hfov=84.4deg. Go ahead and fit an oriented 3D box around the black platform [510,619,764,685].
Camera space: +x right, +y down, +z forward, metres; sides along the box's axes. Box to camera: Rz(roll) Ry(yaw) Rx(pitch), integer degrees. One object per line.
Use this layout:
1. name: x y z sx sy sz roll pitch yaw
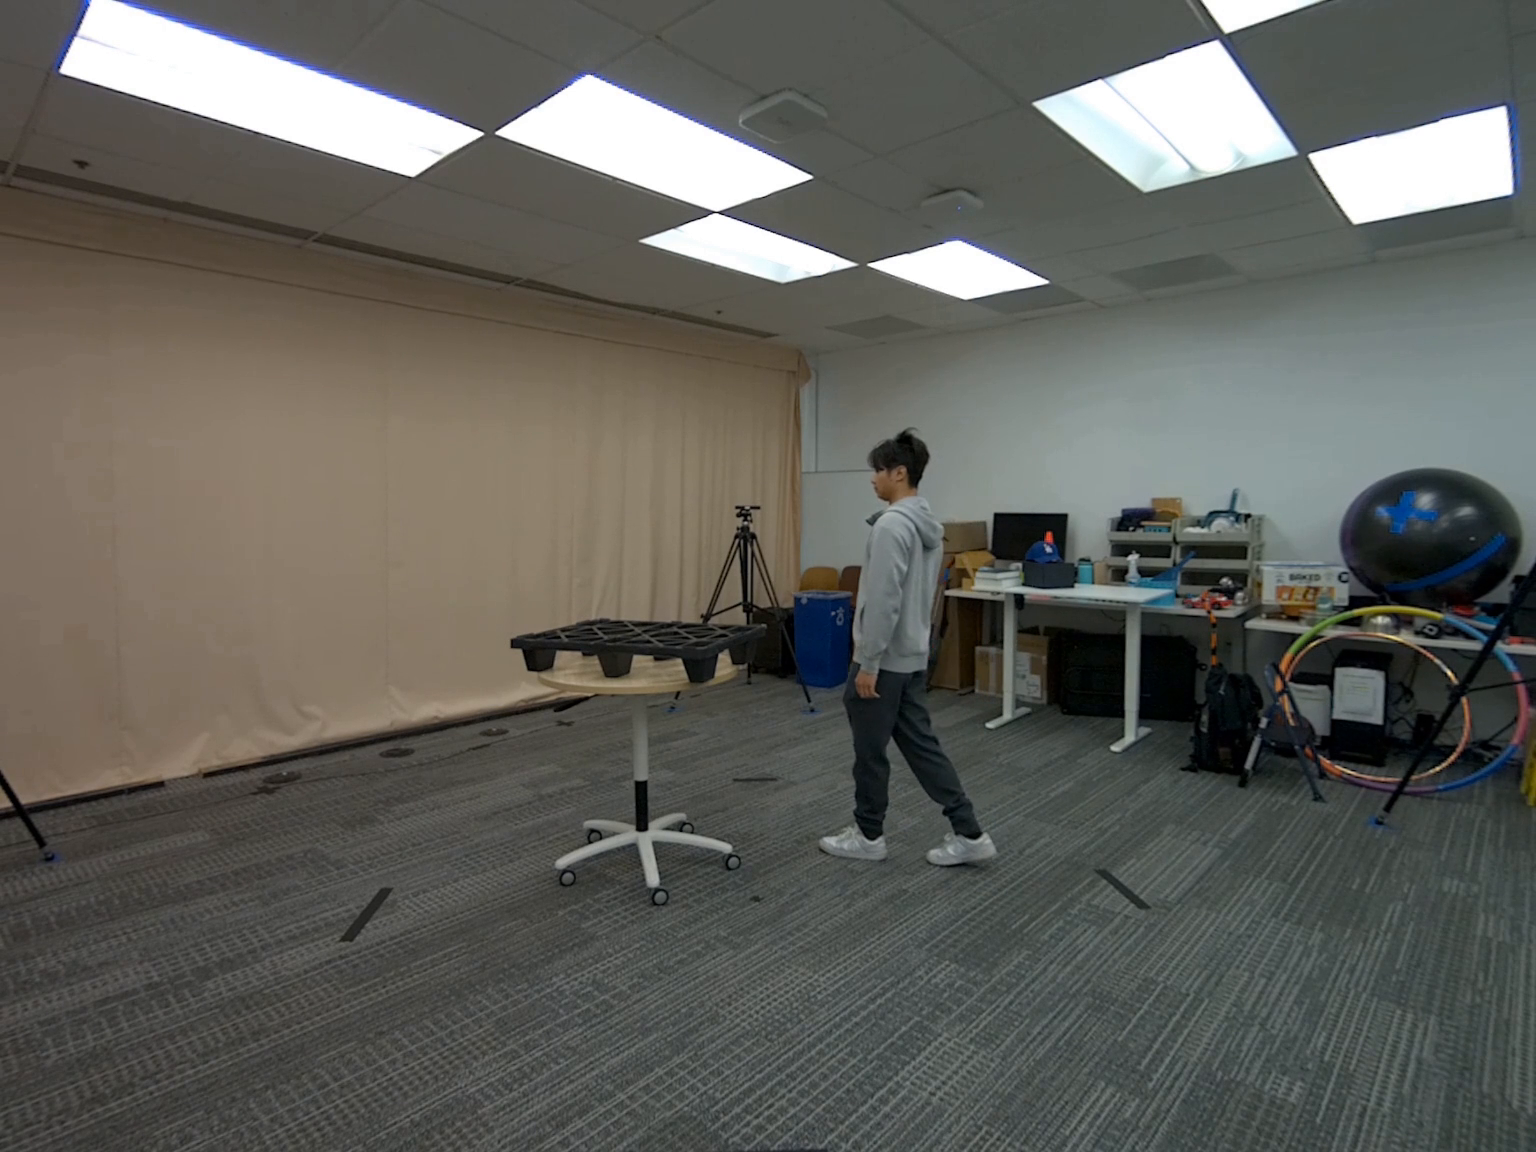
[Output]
1. black platform: -0.484 0.279 3.244 0.825 0.143 0.591 1 4 24
